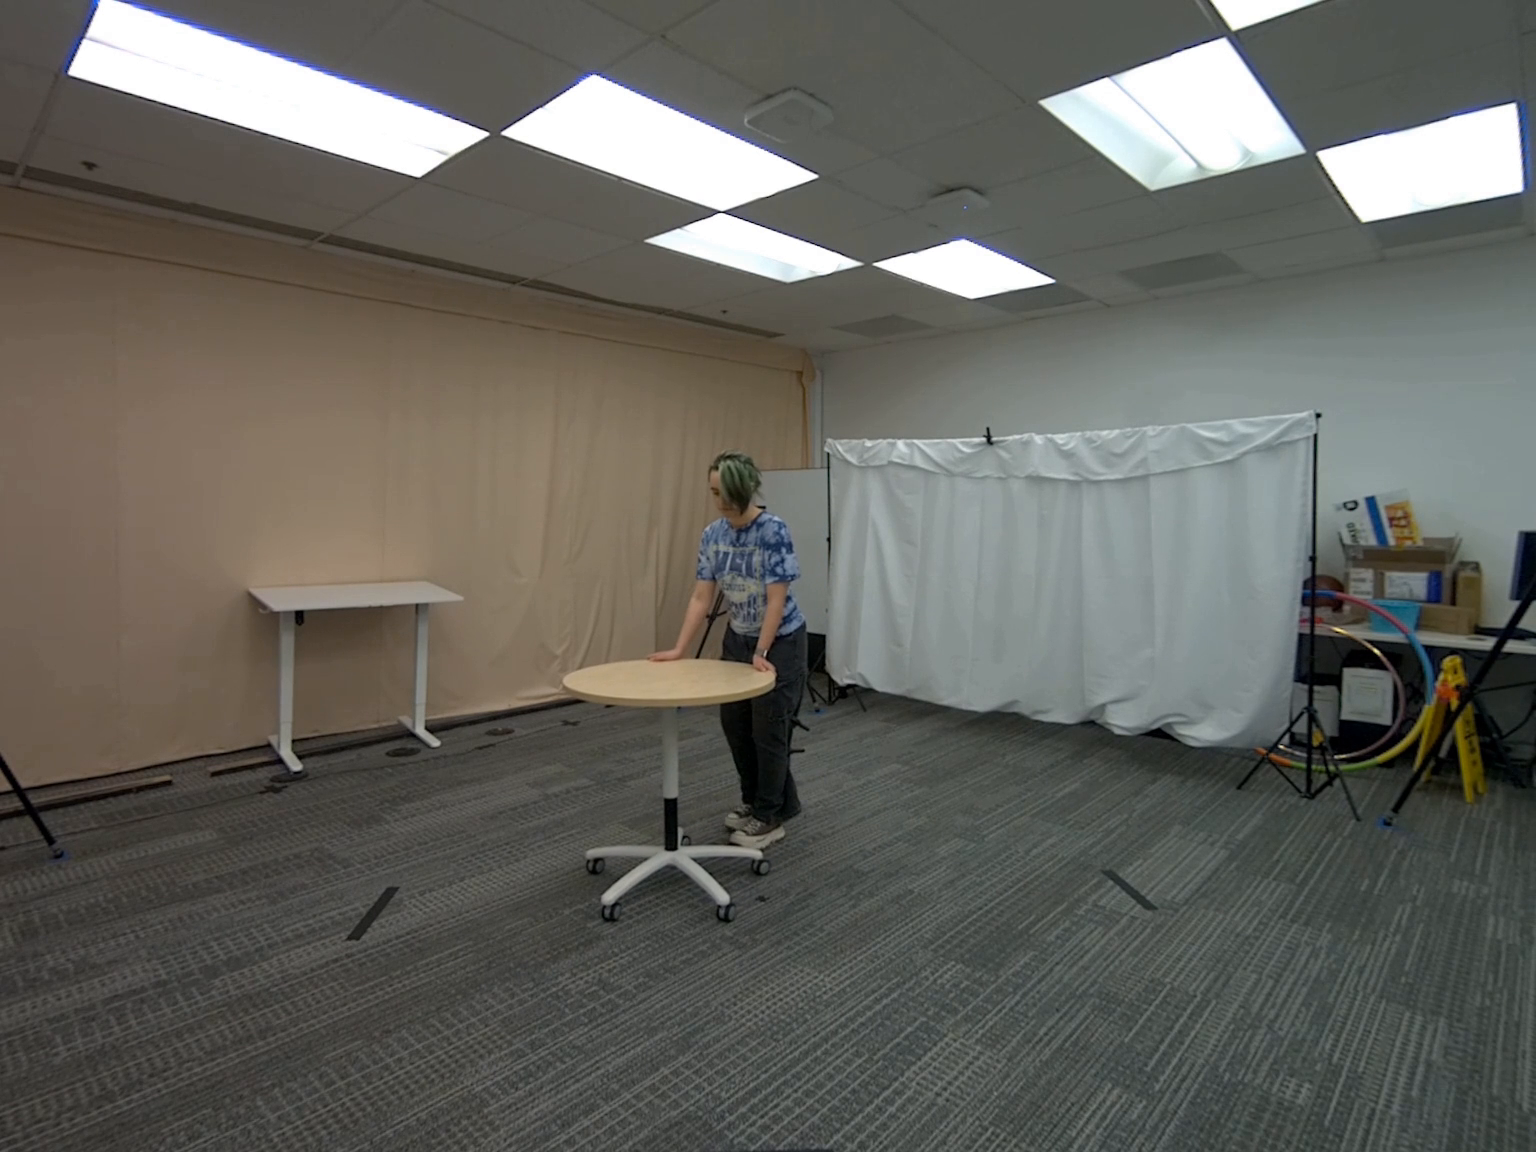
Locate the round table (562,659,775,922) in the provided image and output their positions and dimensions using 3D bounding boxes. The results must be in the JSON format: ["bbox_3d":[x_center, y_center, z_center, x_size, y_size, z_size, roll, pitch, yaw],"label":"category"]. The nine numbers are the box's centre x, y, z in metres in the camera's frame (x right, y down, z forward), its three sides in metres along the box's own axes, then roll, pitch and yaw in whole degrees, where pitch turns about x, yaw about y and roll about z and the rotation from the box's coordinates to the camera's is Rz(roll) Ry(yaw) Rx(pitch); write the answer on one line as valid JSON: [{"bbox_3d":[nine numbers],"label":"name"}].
[{"bbox_3d":[-0.358,0.756,3.069,0.763,0.793,0.766,0,3,-2],"label":"round table"}]
